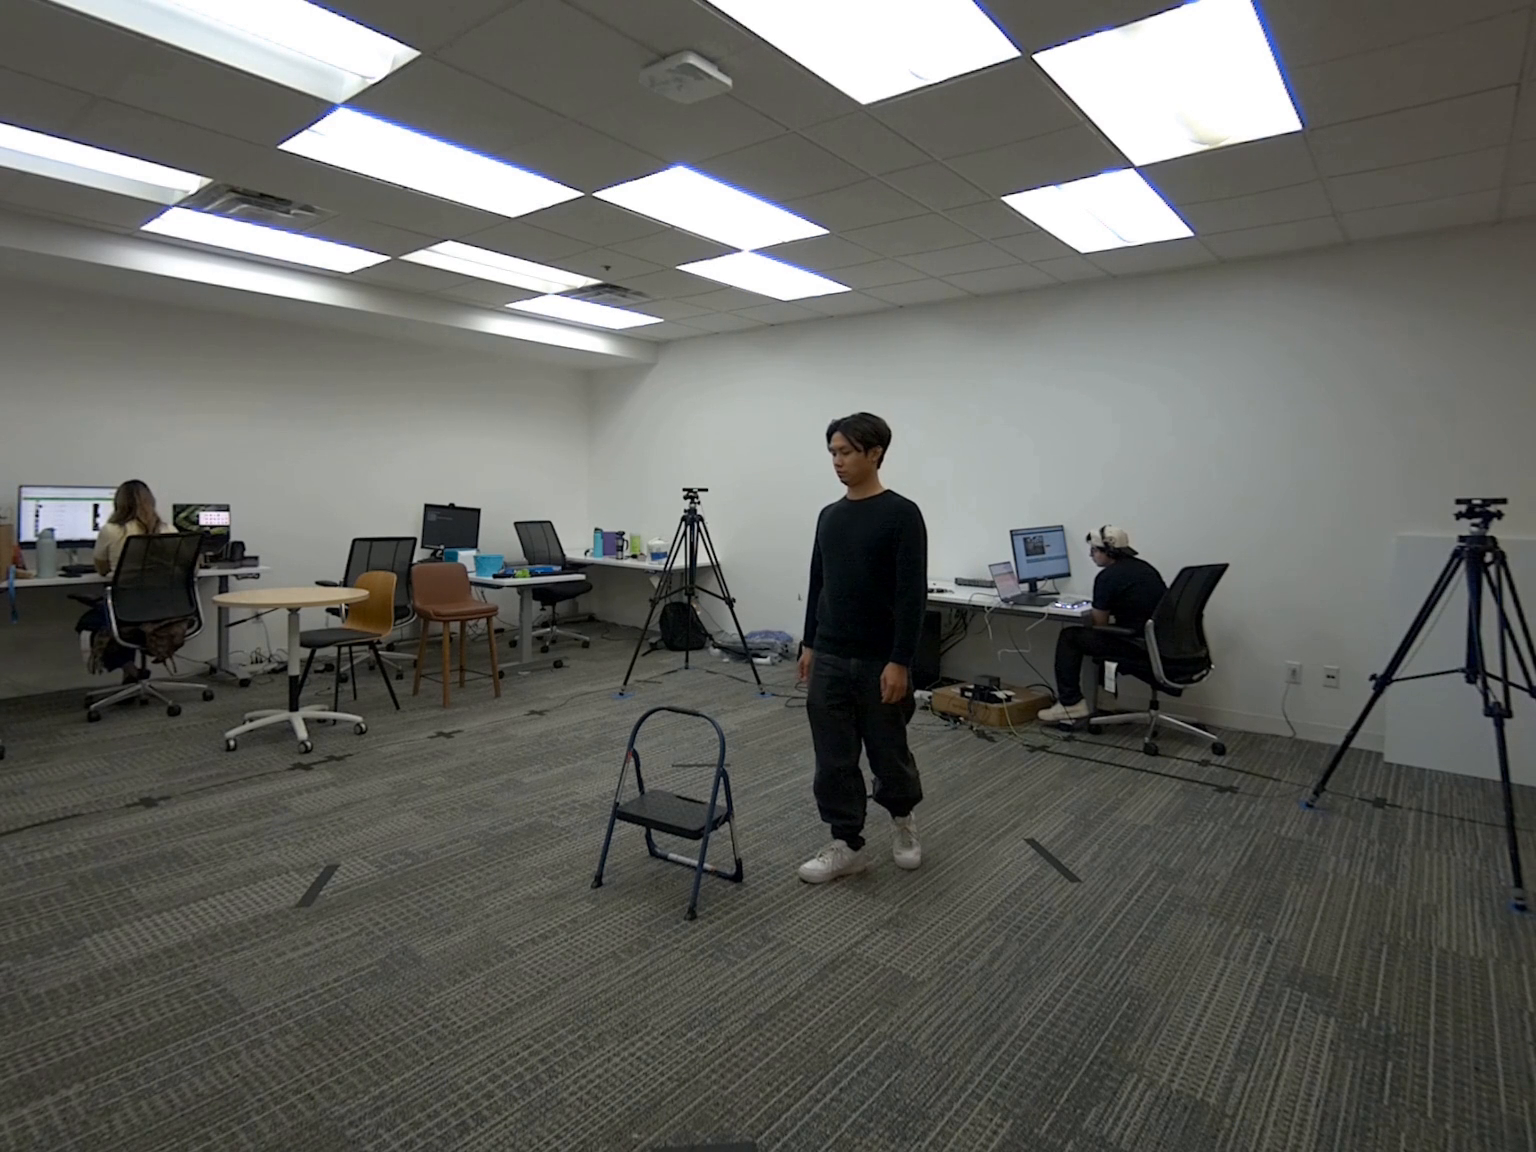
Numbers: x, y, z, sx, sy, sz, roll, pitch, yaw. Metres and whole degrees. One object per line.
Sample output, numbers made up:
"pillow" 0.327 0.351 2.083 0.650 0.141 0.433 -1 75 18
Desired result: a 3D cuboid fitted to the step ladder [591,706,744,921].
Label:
"step ladder" -0.351 0.778 2.975 0.443 0.604 0.340 4 4 30
